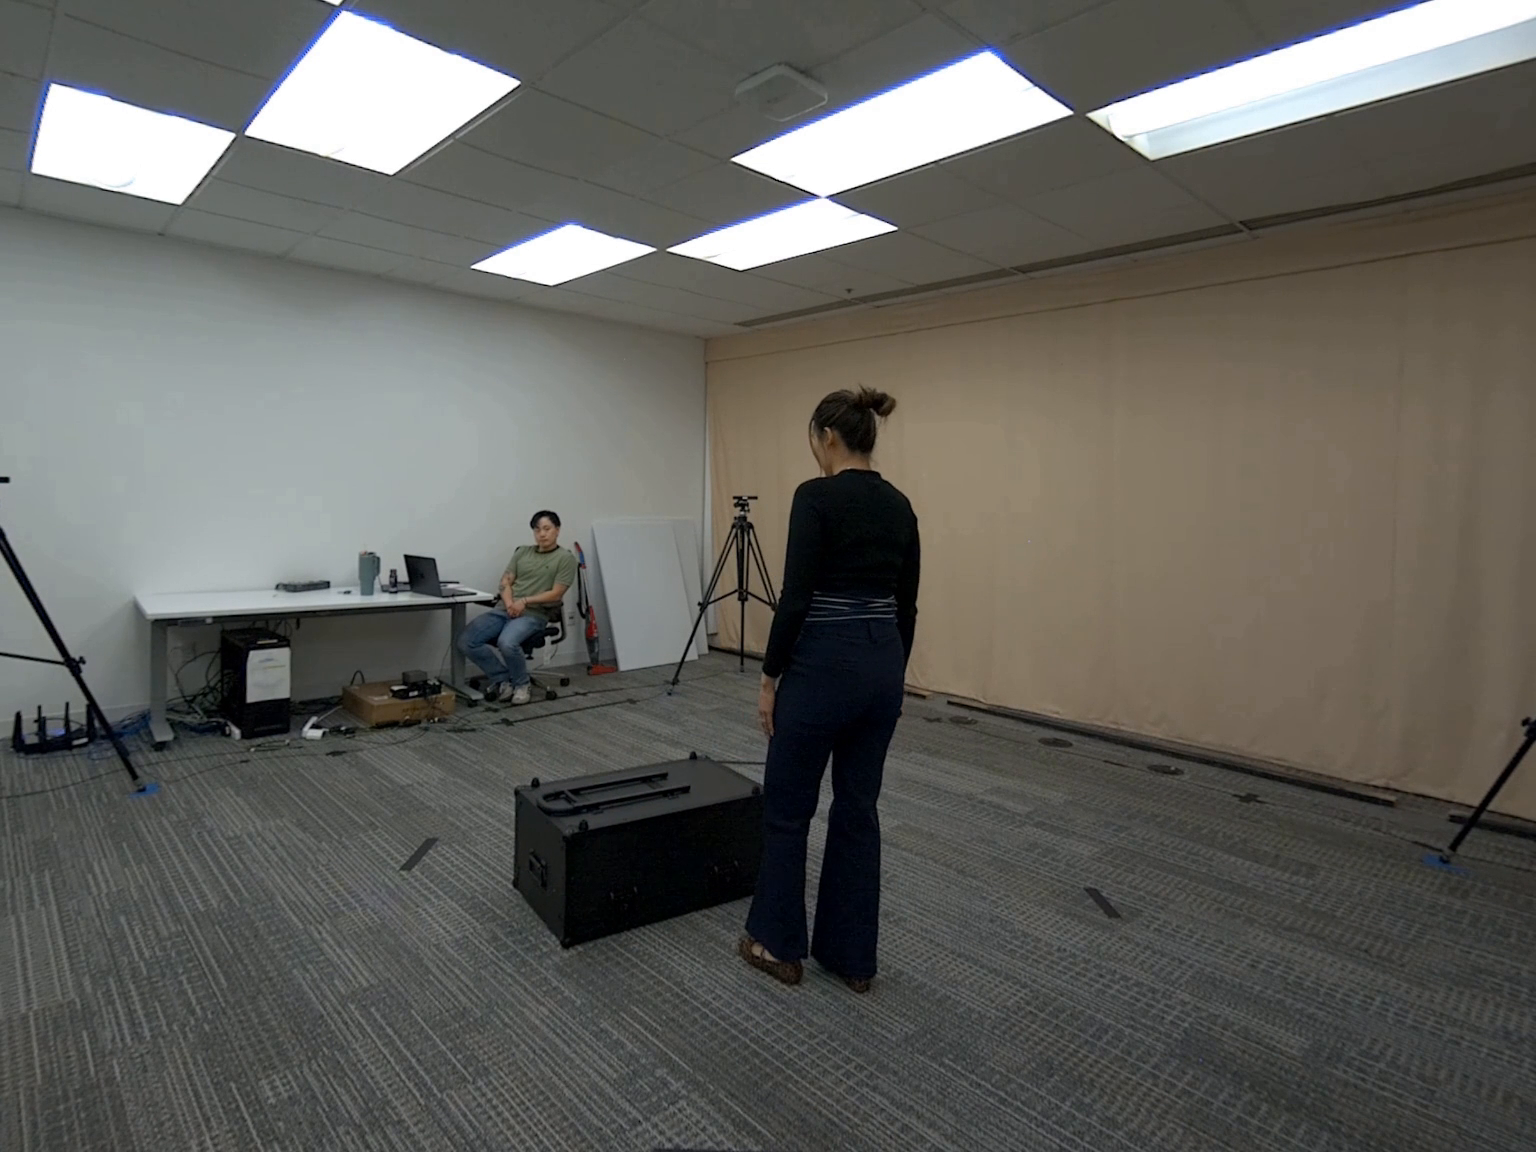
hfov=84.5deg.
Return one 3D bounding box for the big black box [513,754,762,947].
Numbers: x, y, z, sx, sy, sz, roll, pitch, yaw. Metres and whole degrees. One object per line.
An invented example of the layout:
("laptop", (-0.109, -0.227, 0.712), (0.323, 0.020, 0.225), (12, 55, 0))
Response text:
("big black box", (-0.466, 0.936, 2.952), (0.843, 0.395, 0.534), (-2, 6, -34))
